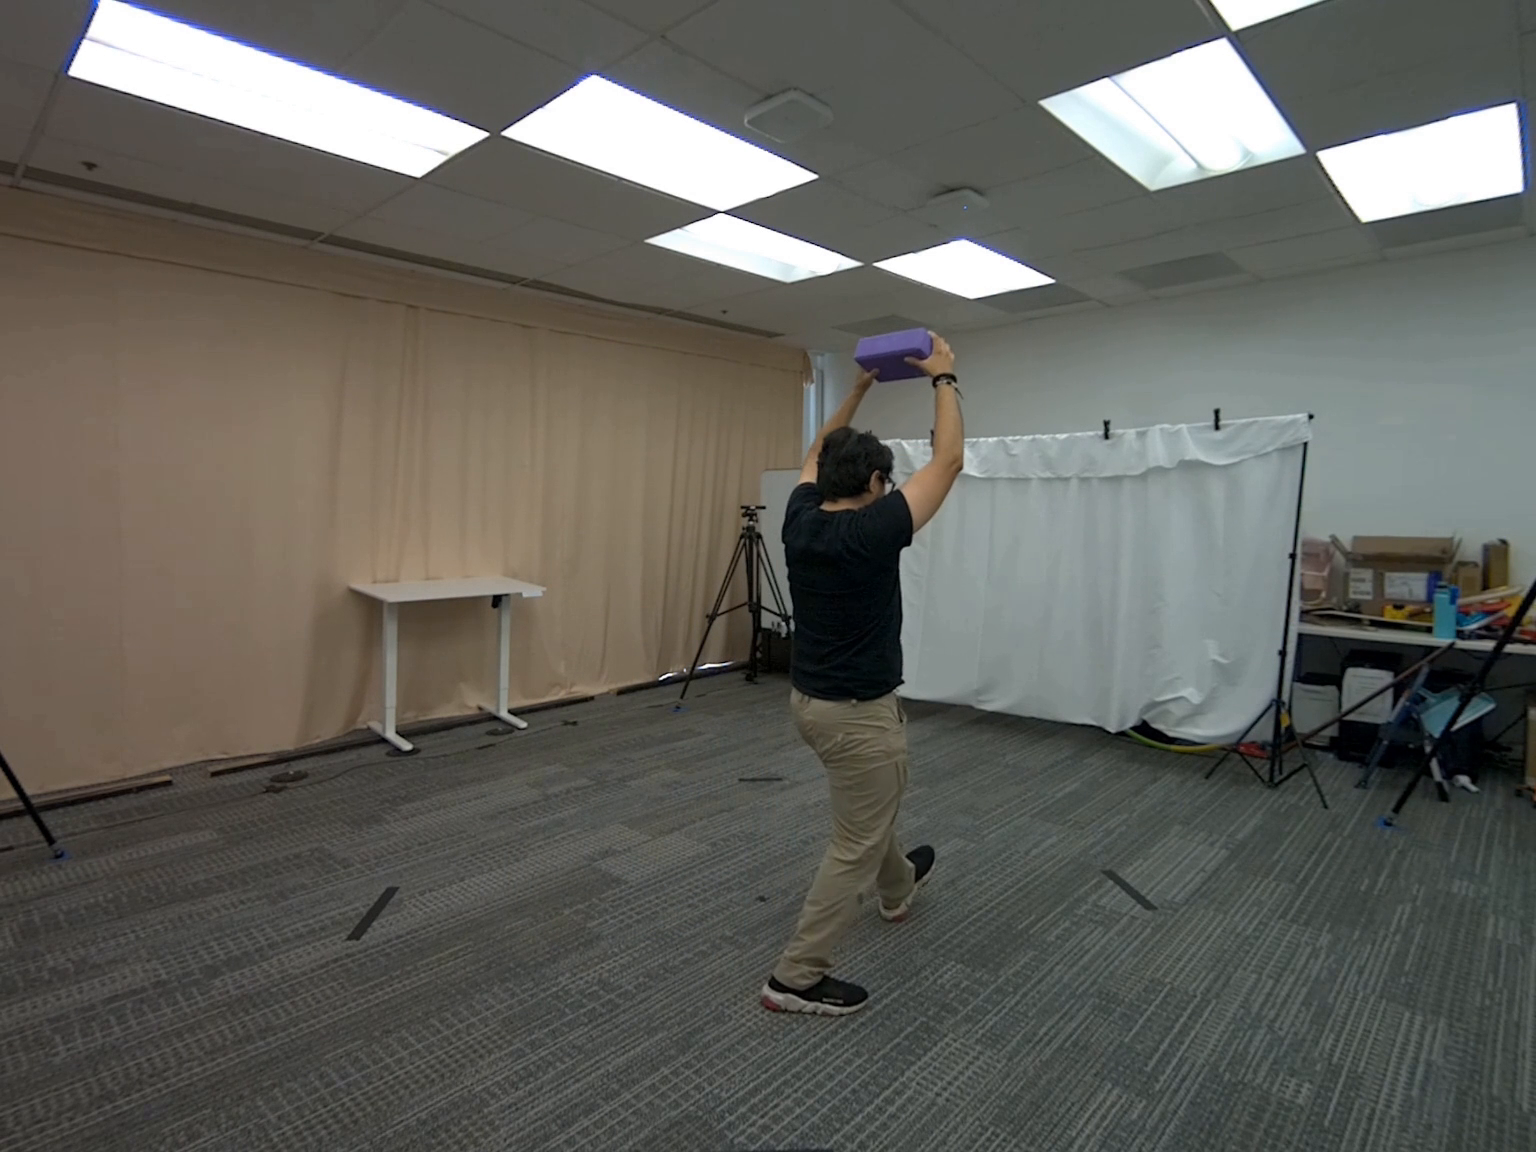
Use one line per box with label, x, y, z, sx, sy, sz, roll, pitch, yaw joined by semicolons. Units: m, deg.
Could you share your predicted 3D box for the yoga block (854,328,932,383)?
yoga block;0.391;-0.646;2.470;0.237;0.077;0.143;3;-19;44
